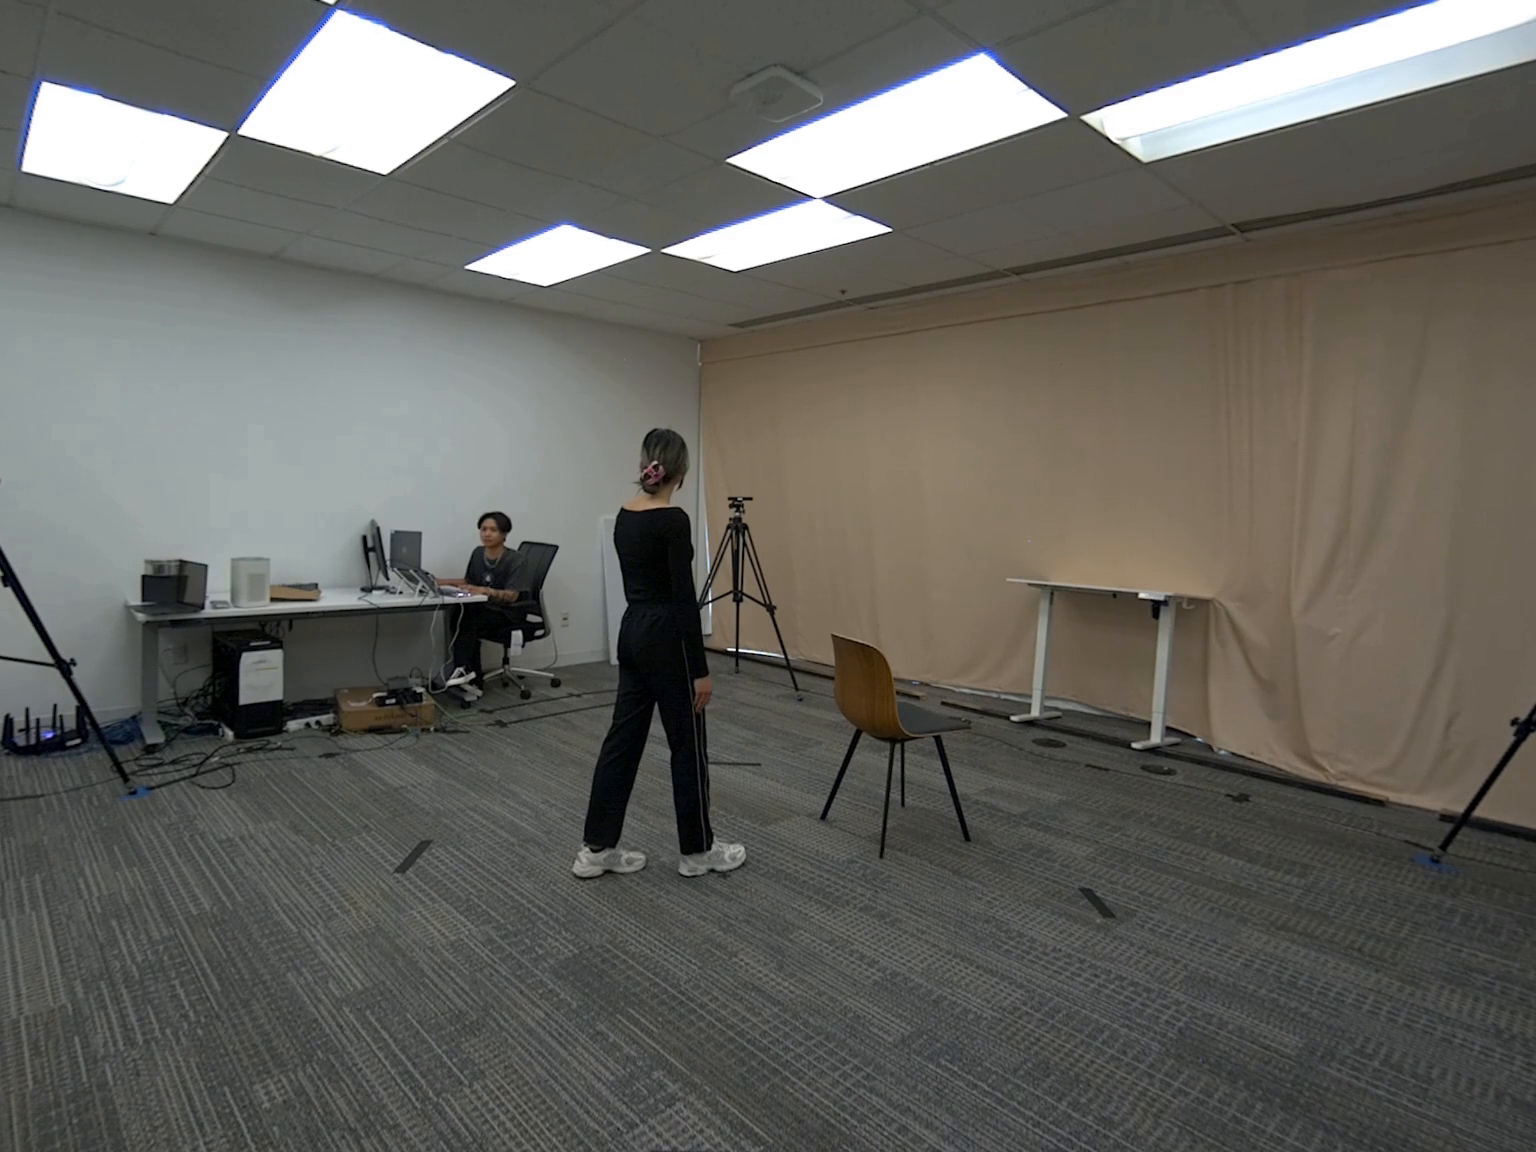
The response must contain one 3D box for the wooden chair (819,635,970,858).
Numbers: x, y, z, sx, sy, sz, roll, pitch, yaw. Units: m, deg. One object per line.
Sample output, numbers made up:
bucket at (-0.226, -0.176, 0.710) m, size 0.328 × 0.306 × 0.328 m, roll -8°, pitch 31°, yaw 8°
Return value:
wooden chair at (0.541, 0.655, 3.562) m, size 0.514 × 0.874 × 0.488 m, roll -5°, pitch 5°, yaw -27°
